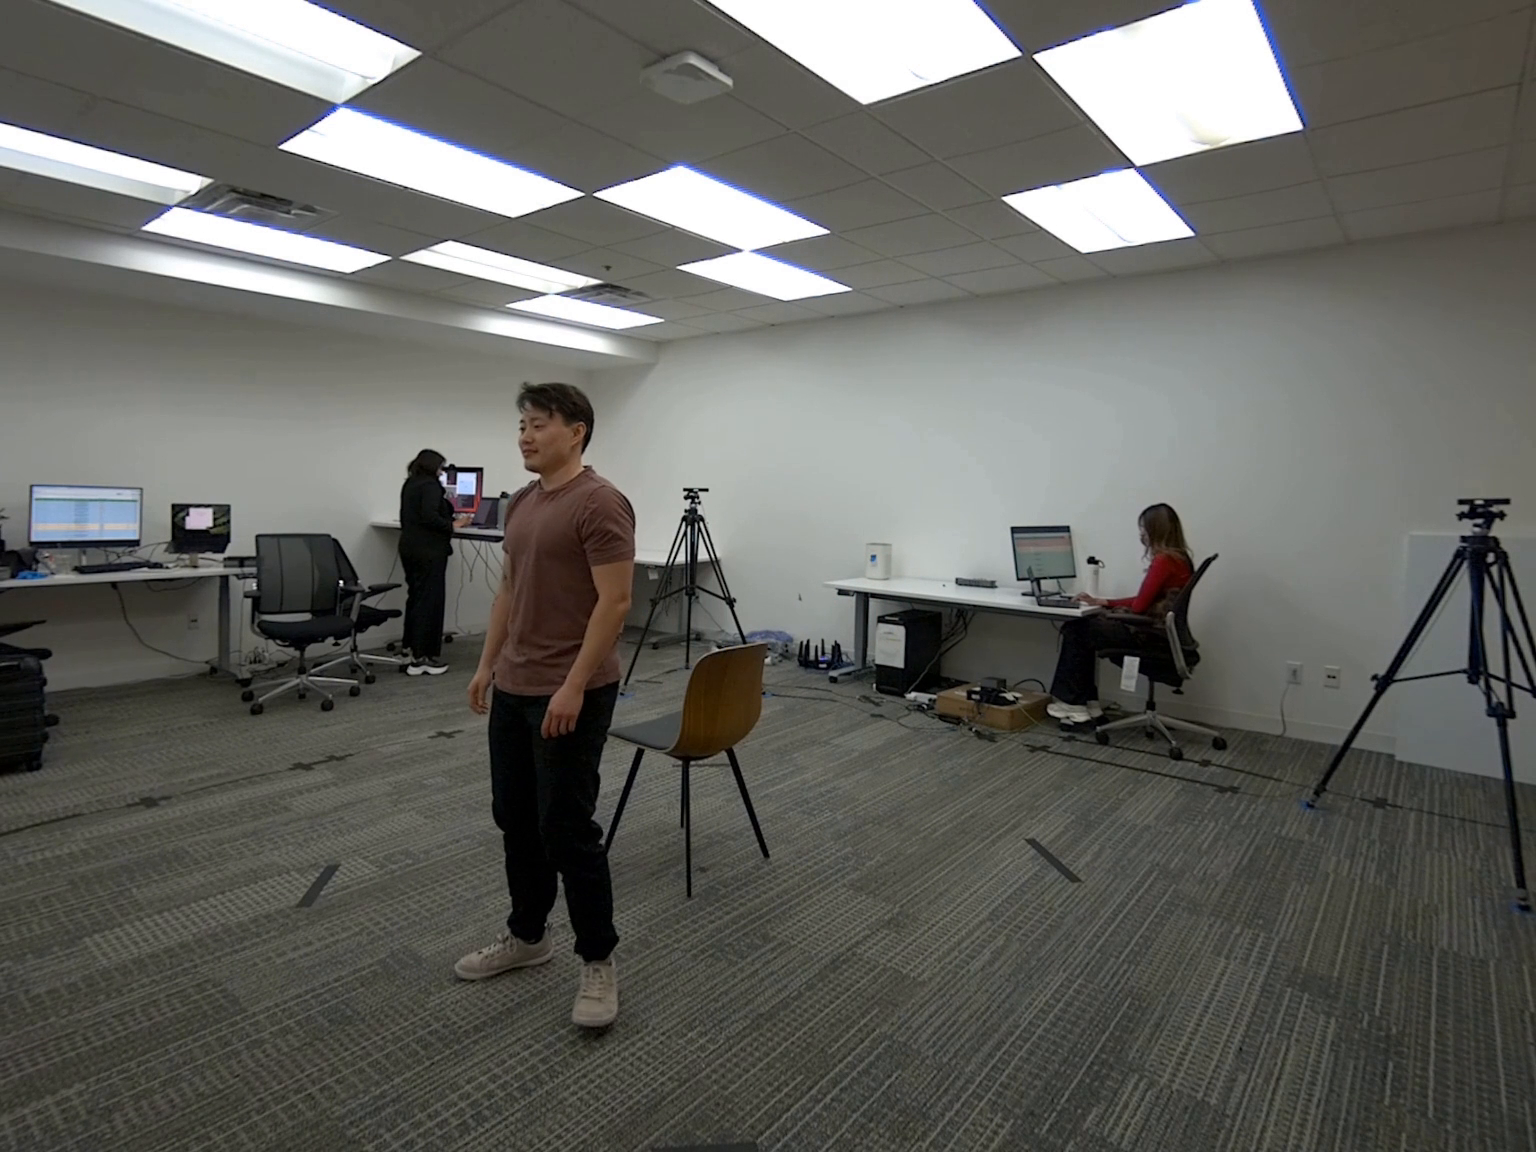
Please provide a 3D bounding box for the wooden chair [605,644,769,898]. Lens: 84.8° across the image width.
[{"bbox_3d":[-0.316,0.634,3.178,0.542,0.873,0.464,9,8,39],"label":"wooden chair"}]
